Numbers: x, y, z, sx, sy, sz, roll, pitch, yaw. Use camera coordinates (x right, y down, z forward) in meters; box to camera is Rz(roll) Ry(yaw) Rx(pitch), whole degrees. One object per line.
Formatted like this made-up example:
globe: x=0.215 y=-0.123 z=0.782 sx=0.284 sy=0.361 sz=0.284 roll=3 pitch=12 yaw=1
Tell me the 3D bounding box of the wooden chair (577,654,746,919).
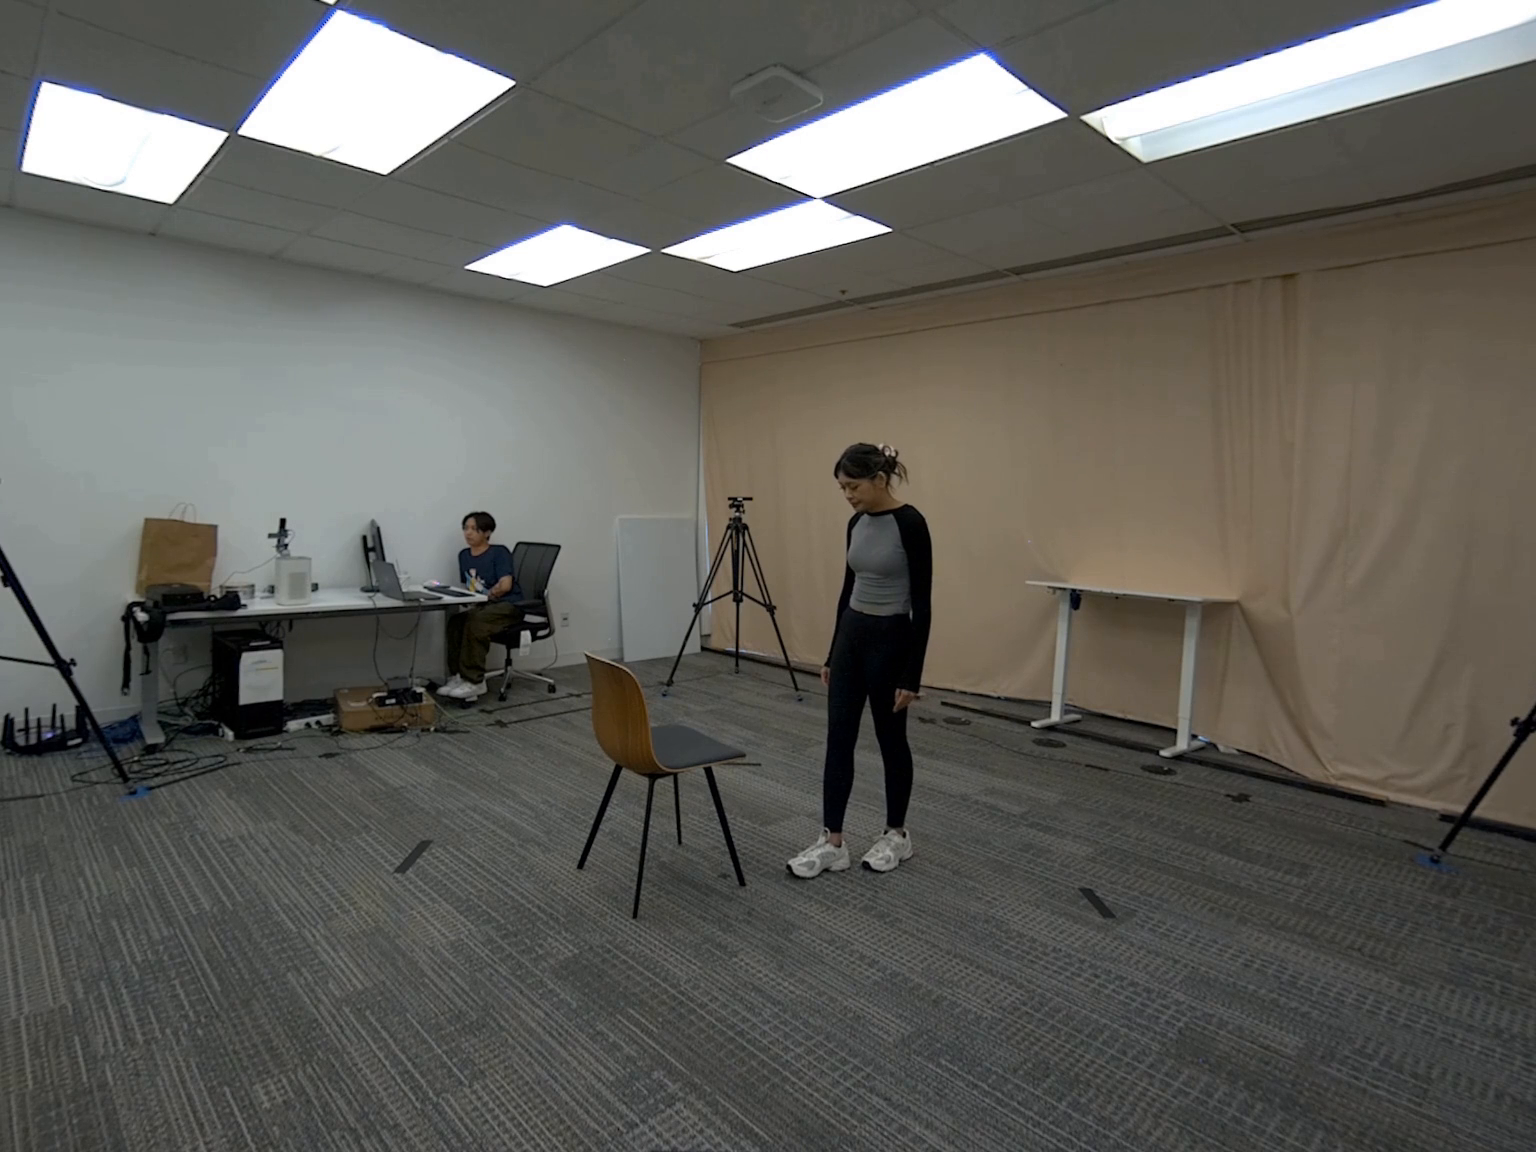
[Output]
wooden chair: x=-0.385 y=0.679 z=3.056 sx=0.512 sy=0.874 sz=0.490 roll=-6 pitch=7 yaw=-36
